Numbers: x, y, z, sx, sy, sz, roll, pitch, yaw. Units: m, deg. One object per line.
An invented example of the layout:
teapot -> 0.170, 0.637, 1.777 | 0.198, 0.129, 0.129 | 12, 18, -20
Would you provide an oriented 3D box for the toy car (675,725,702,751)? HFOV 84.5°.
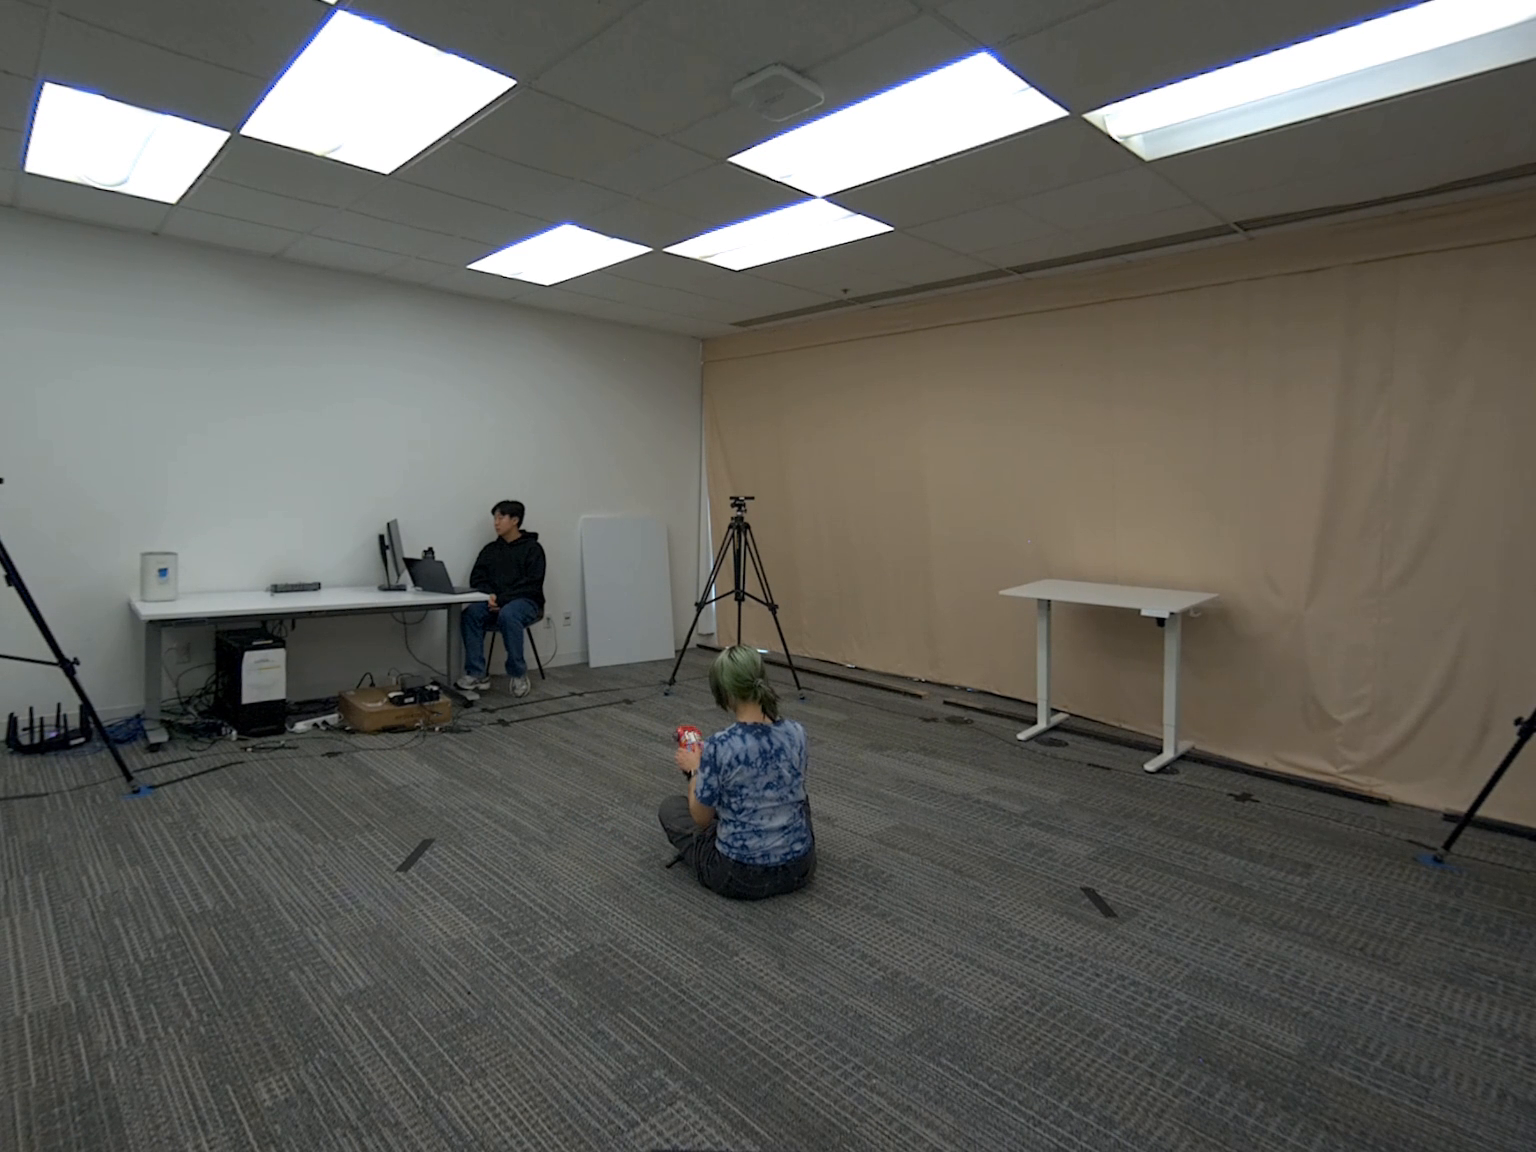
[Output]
toy car -> -0.295, 0.709, 3.305 | 0.127, 0.083, 0.263 | 8, 34, -36
